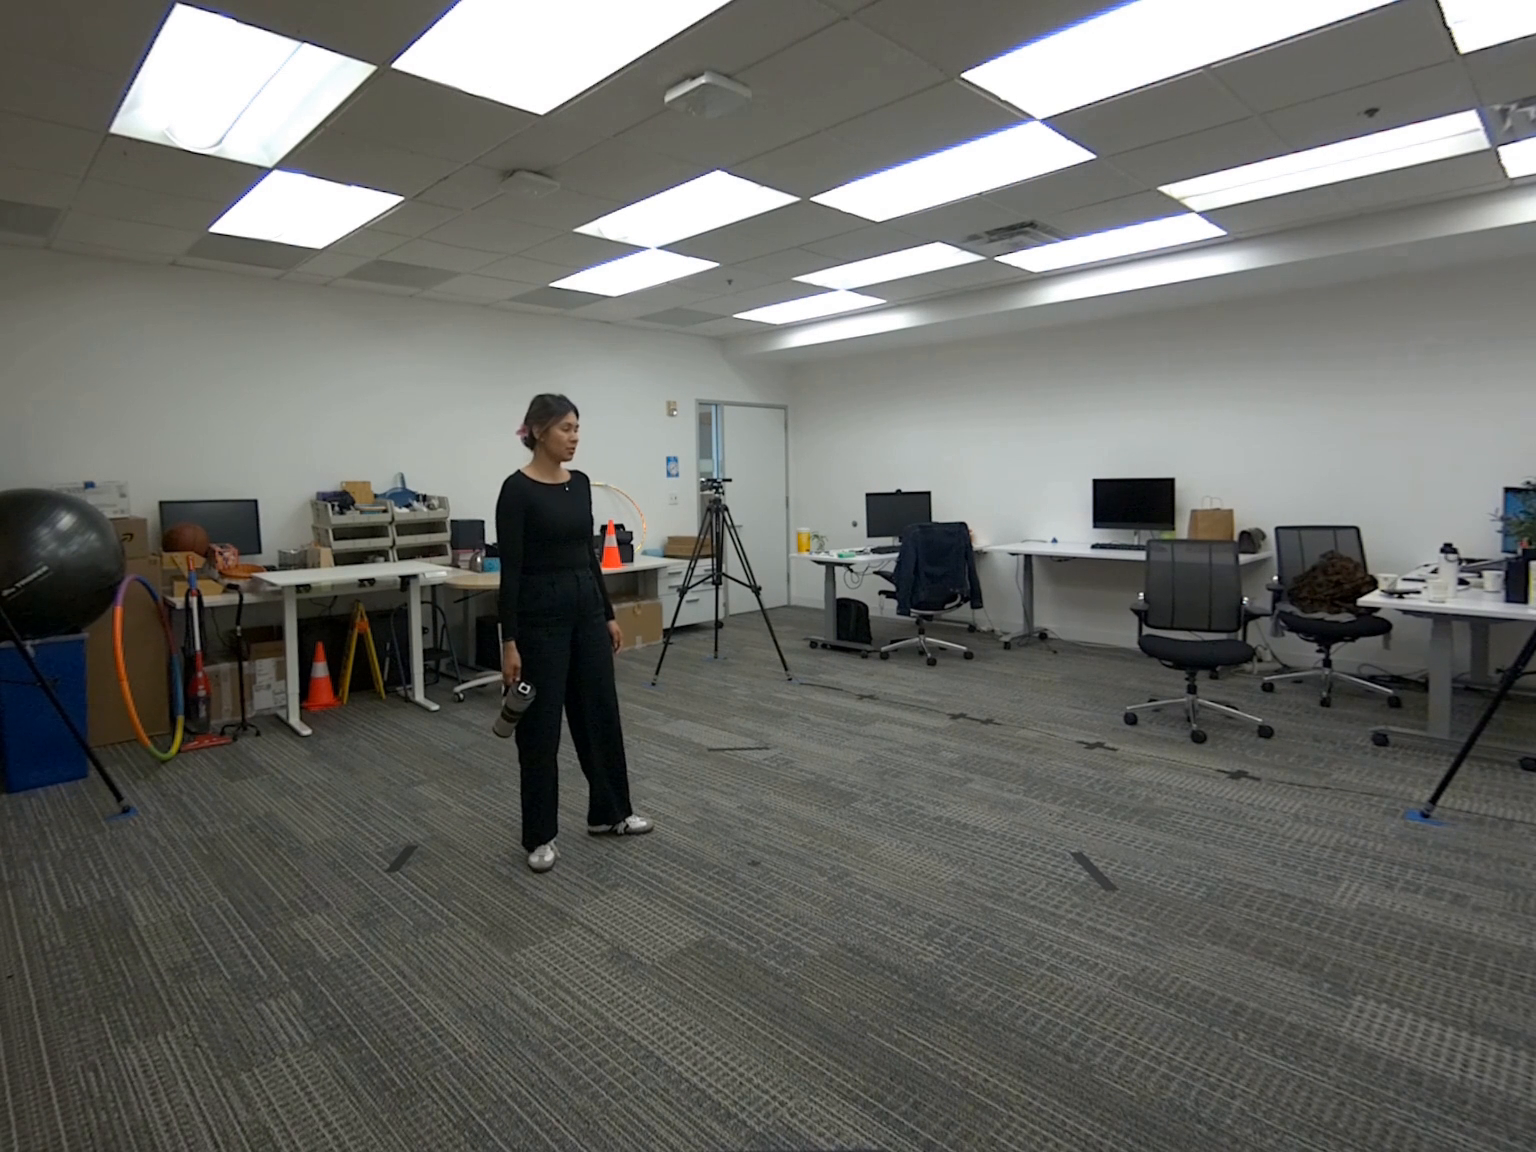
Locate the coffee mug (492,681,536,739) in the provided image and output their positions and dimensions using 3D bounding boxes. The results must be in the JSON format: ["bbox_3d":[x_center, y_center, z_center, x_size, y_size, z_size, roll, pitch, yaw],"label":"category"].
[{"bbox_3d":[-0.880,0.472,2.974,0.091,0.200,0.119,31,26,35],"label":"coffee mug"}]
